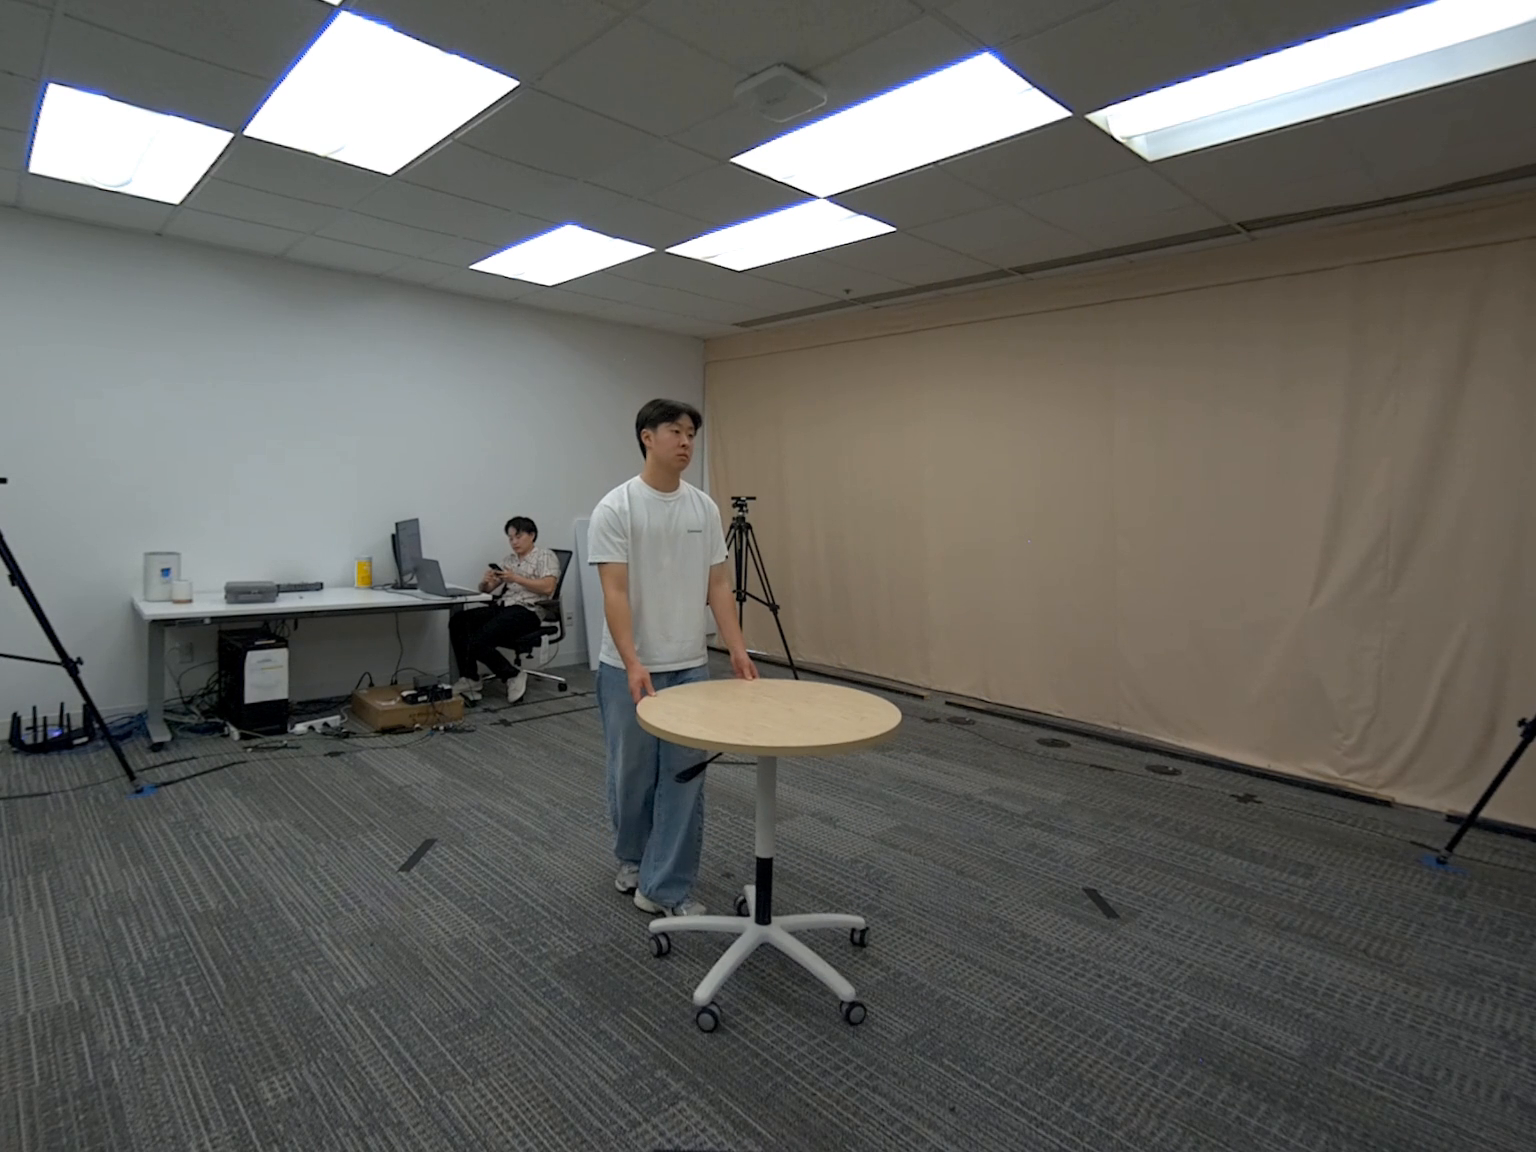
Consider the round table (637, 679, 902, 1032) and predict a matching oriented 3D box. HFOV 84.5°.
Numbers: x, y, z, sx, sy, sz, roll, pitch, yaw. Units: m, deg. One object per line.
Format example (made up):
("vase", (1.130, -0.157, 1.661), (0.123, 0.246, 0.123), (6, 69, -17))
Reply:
("round table", (-0.015, 0.777, 2.484), (0.763, 0.791, 0.767), (2, 5, -1))
